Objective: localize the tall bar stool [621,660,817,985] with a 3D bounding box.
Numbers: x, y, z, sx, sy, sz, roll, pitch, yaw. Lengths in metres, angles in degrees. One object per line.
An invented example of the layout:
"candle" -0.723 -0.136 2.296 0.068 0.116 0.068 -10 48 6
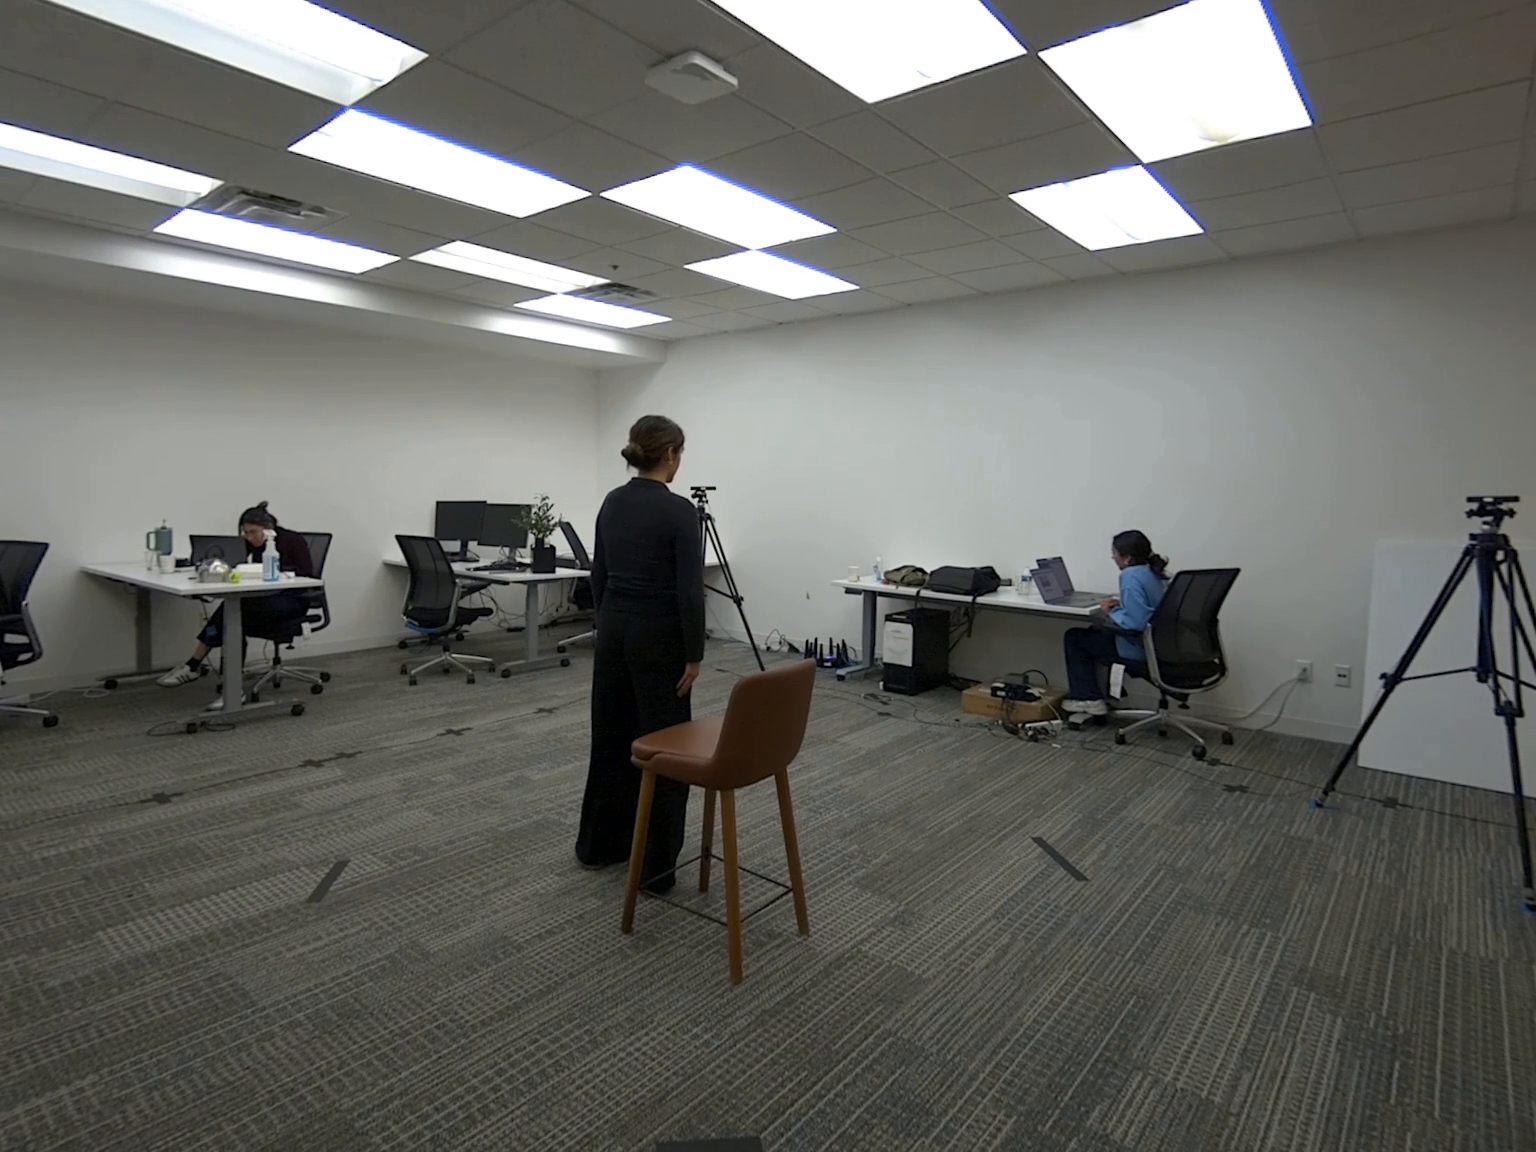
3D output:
"tall bar stool" -0.151 0.678 2.629 0.483 0.886 0.443 6 6 37
